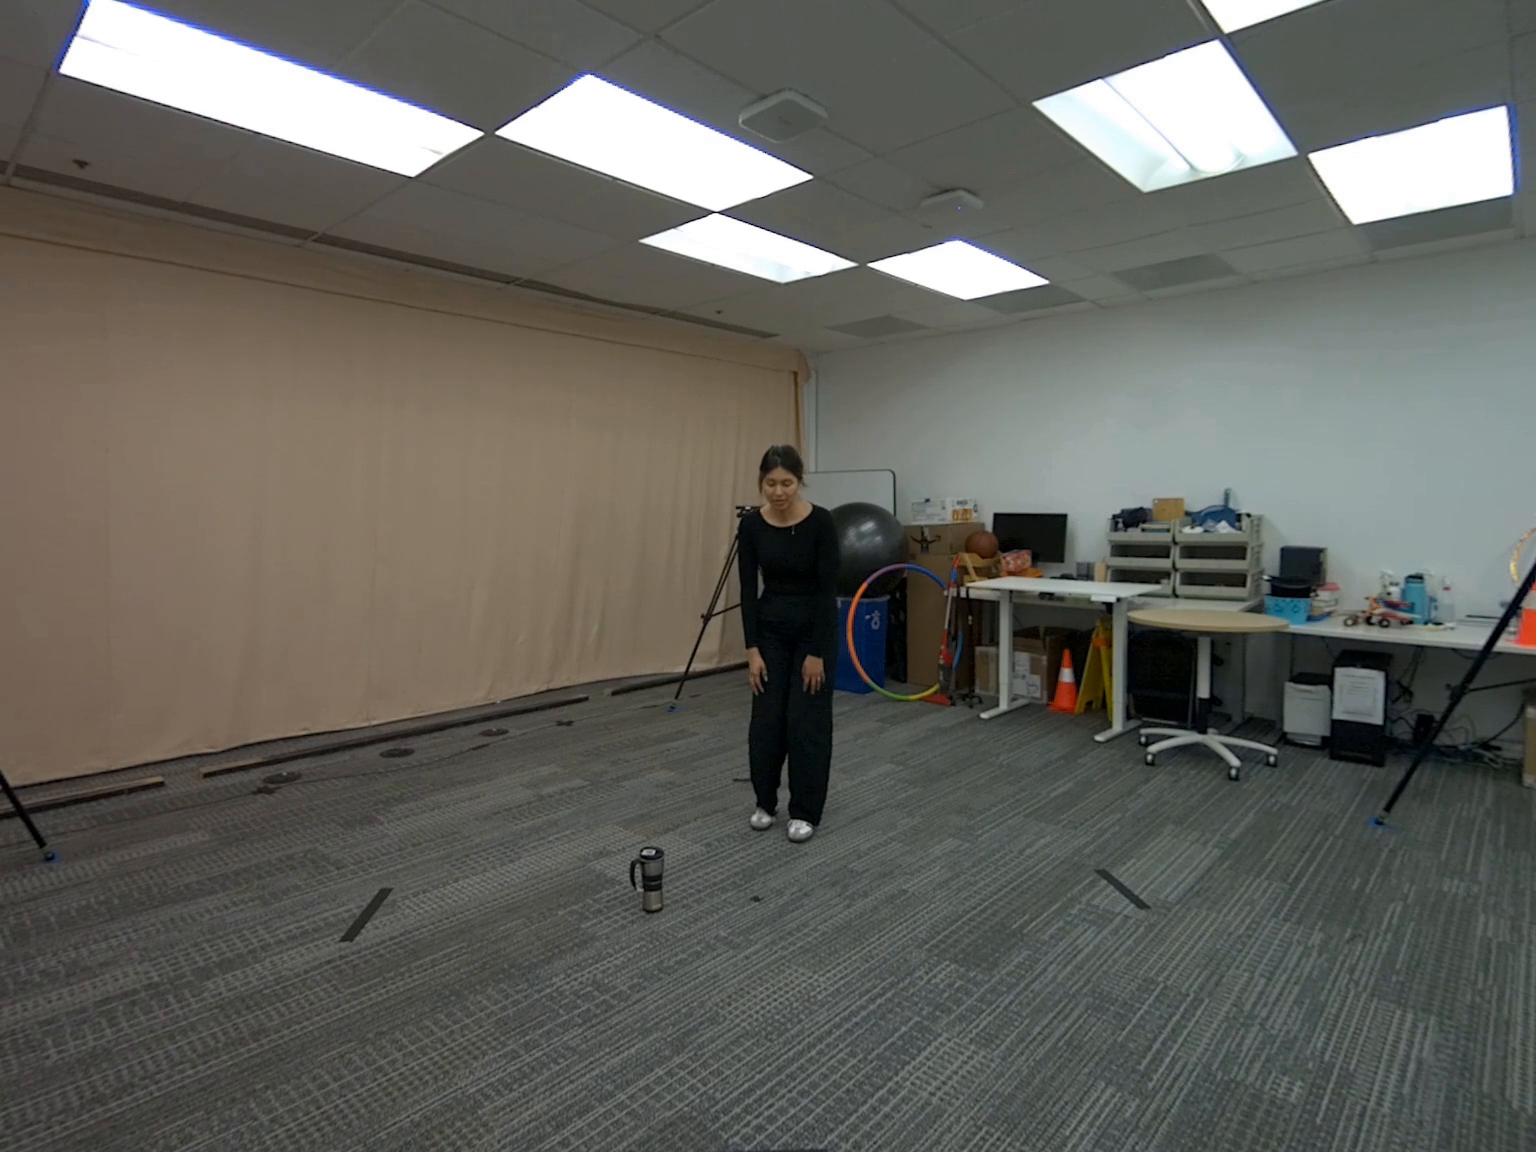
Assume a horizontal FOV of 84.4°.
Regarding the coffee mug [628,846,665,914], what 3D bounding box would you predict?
[{"bbox_3d":[-0.423,1.054,2.909,0.121,0.202,0.088,2,4,-3],"label":"coffee mug"}]
